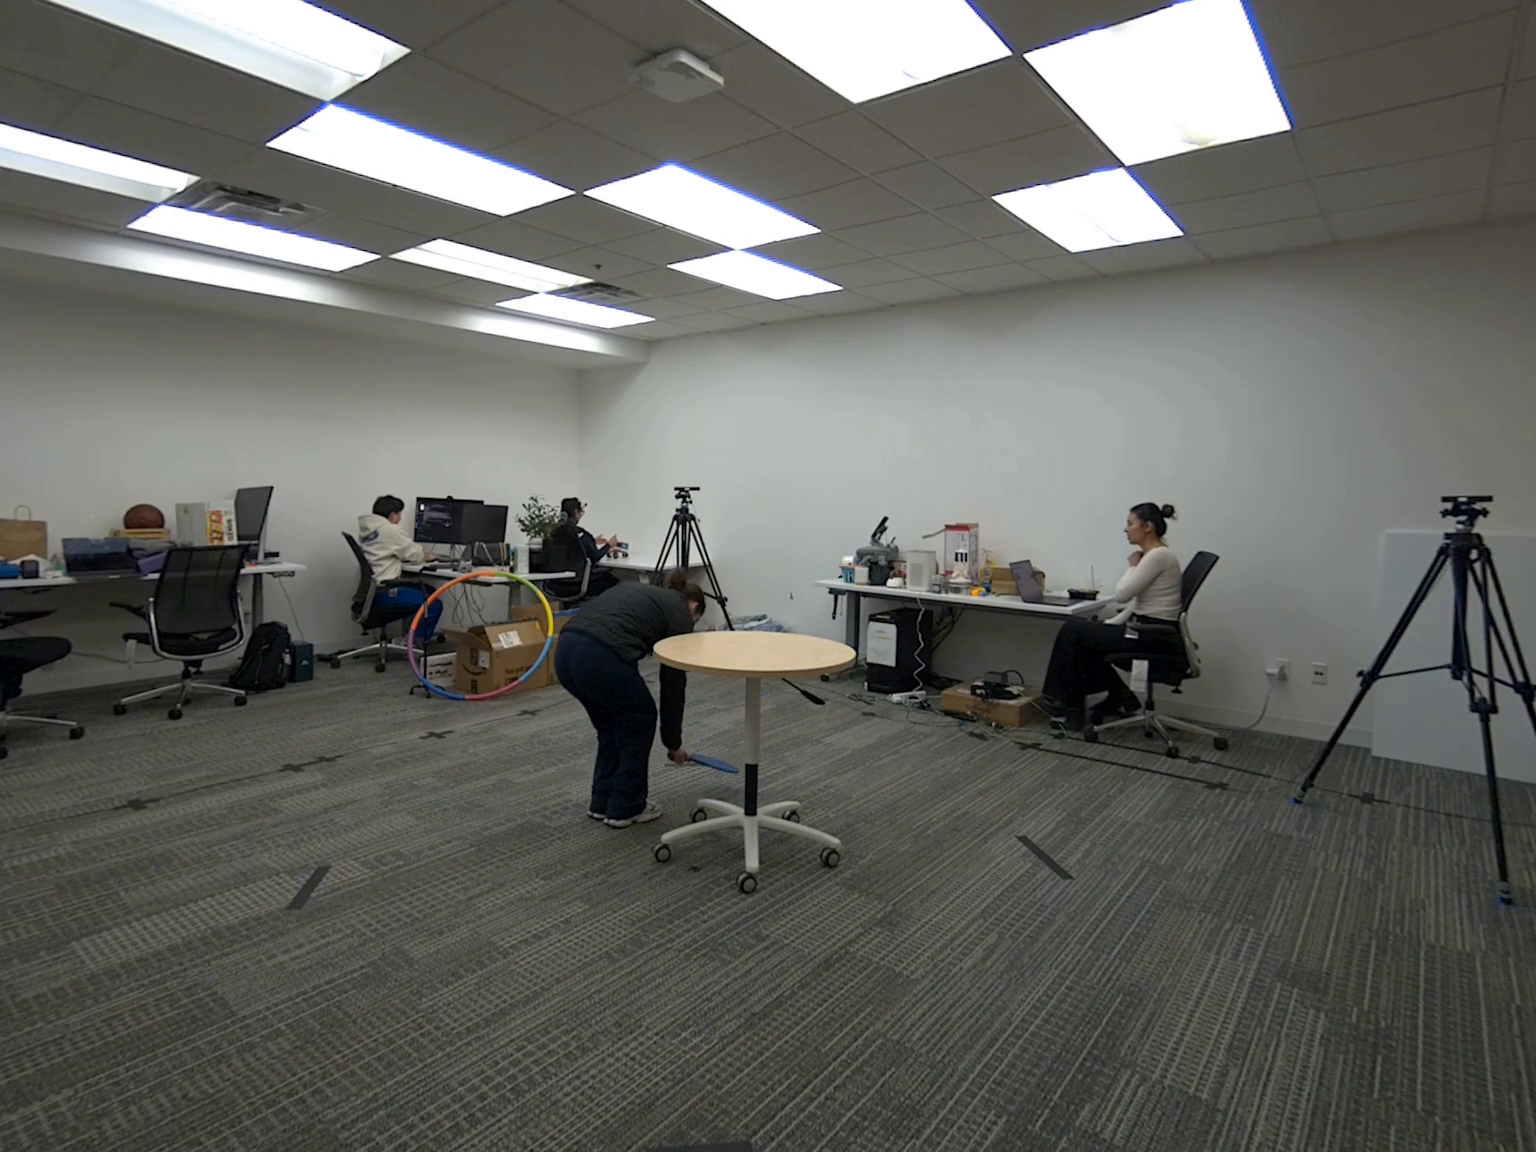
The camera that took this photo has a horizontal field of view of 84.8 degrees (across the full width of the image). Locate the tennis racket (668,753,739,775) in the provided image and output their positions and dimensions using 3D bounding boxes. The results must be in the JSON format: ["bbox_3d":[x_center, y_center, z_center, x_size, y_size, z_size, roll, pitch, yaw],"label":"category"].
[{"bbox_3d":[-0.280,0.820,3.834,0.222,0.032,0.415,15,-6,43],"label":"tennis racket"}]
